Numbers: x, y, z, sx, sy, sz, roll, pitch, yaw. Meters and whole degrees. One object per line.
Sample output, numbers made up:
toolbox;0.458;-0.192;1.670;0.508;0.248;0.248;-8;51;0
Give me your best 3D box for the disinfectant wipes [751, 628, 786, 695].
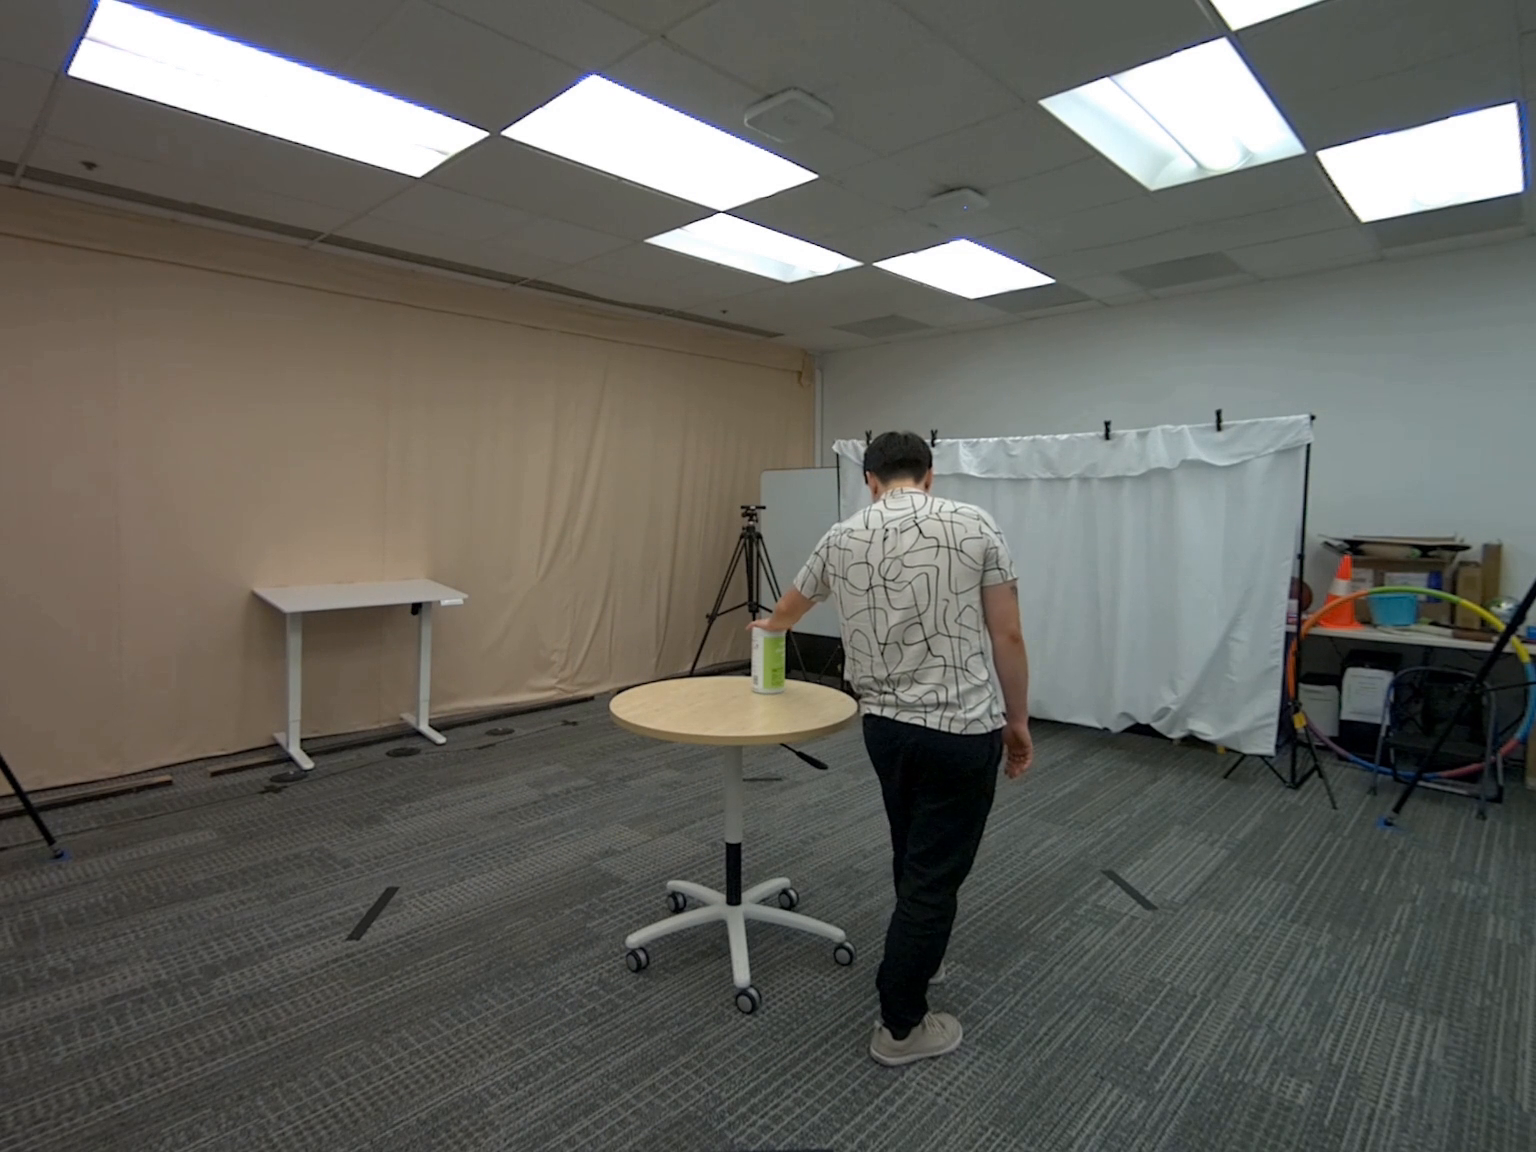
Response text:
disinfectant wipes;0.003;0.277;2.770;0.117;0.217;0.118;2;3;-2
